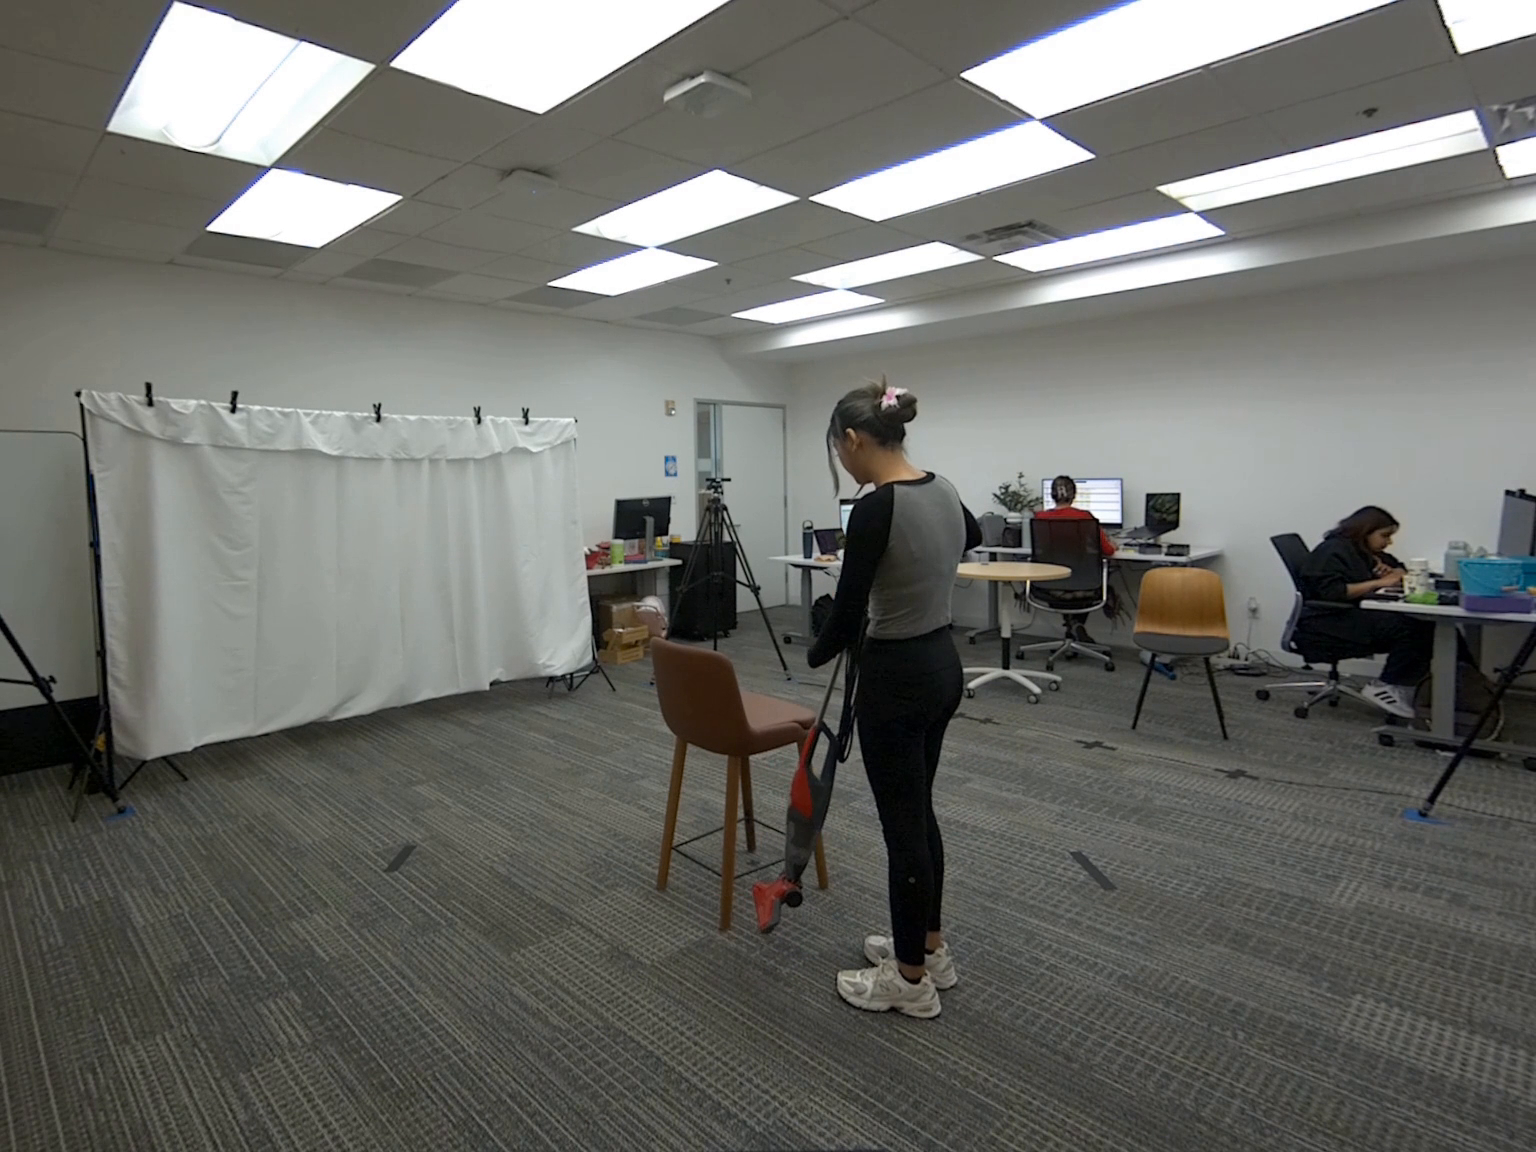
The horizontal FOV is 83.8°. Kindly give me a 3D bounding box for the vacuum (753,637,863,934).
[{"bbox_3d":[0.180,0.444,2.456,0.143,1.048,0.254,16,2,-5],"label":"vacuum"}]
